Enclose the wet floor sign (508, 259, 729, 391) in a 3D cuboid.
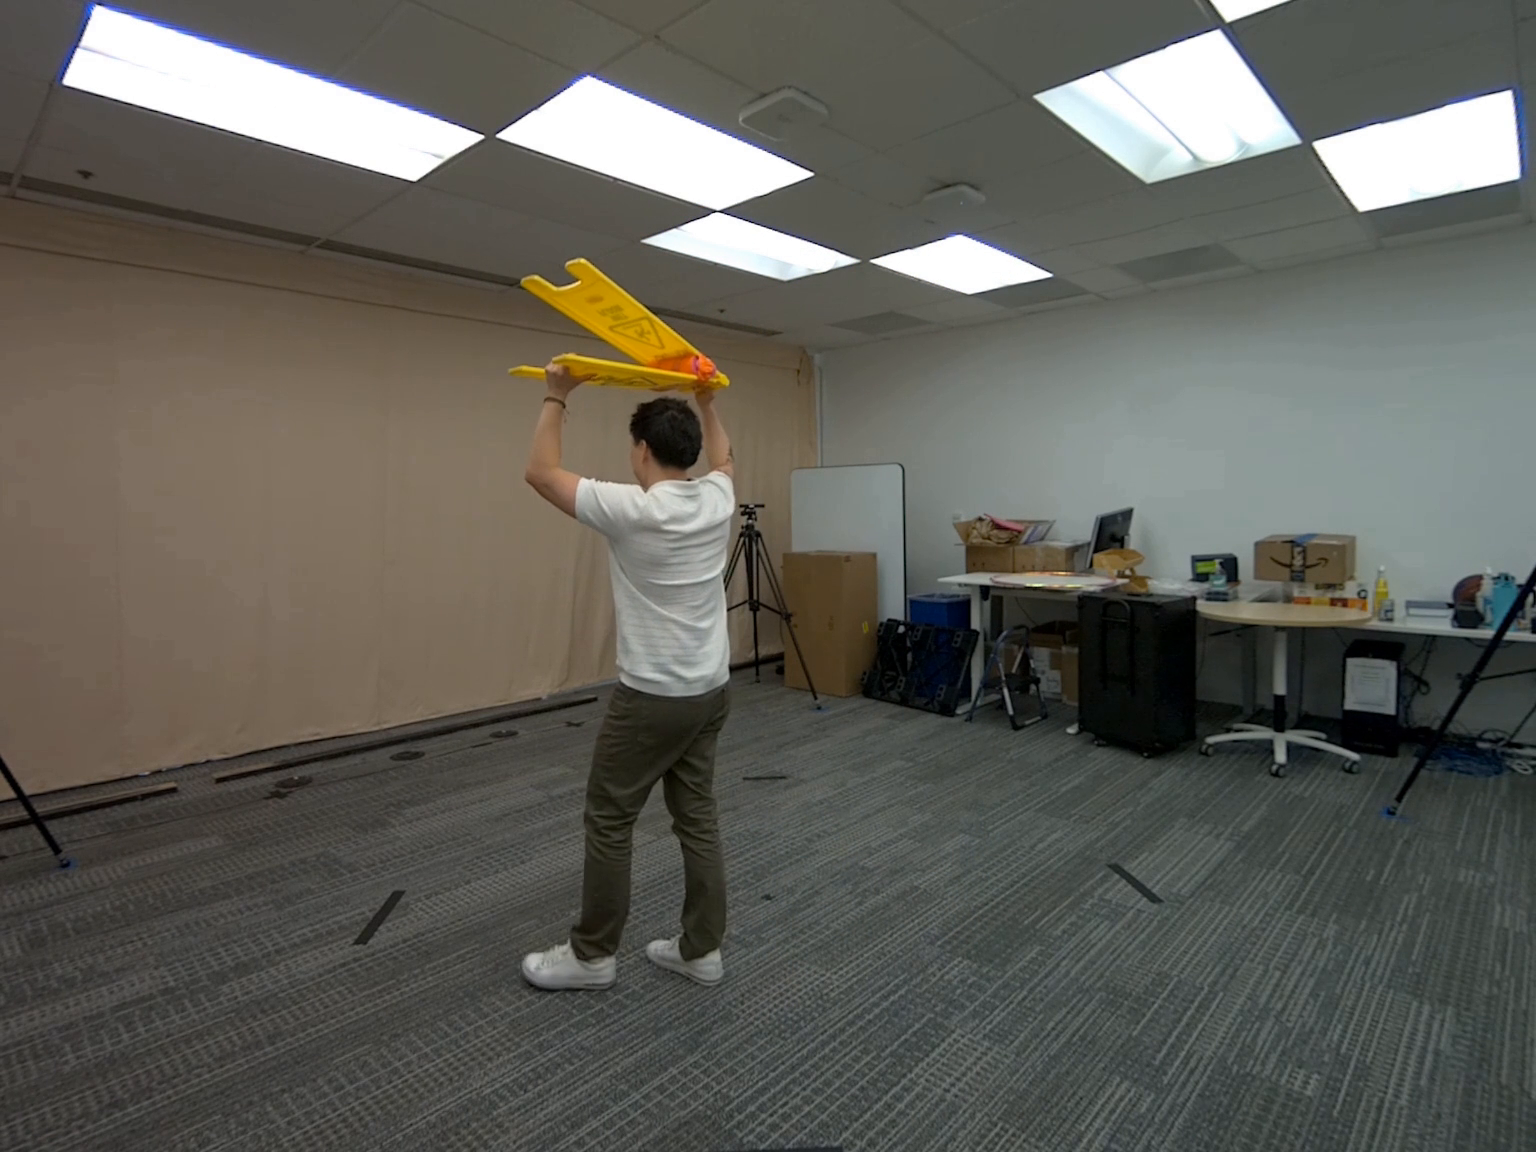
[{"bbox_3d":[-0.392,-0.646,2.459,0.291,0.290,0.624,2,-6,42],"label":"wet floor sign"}]
